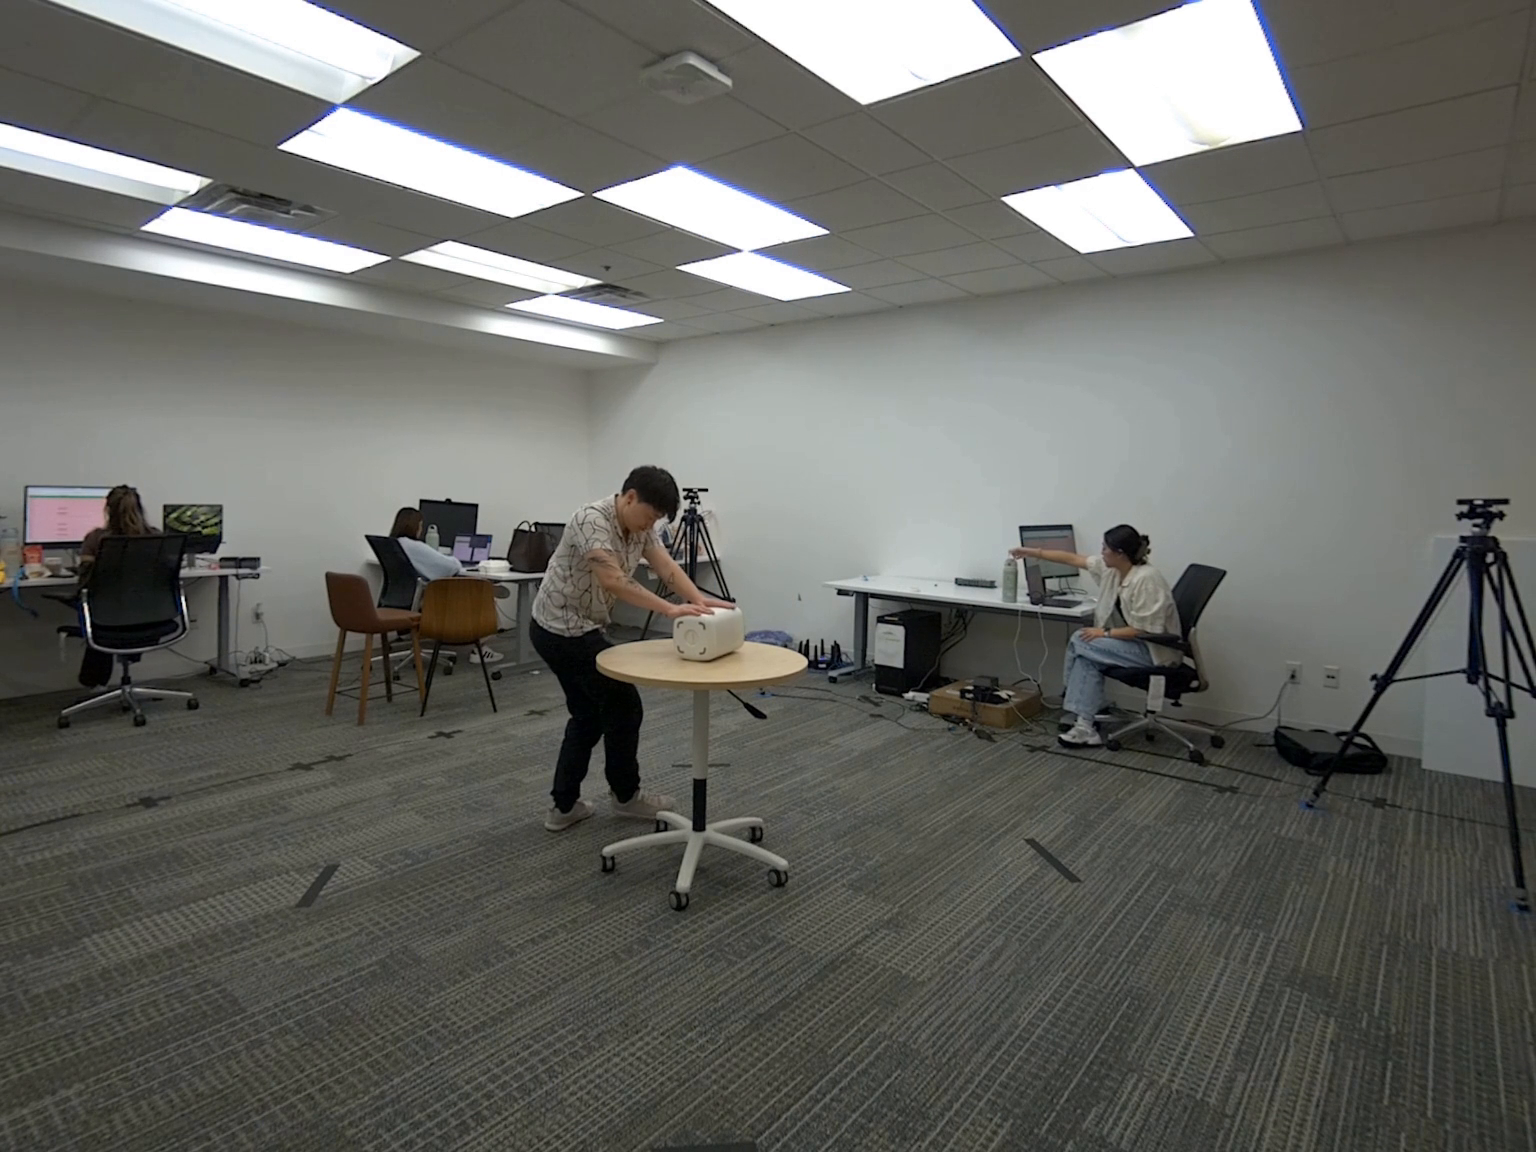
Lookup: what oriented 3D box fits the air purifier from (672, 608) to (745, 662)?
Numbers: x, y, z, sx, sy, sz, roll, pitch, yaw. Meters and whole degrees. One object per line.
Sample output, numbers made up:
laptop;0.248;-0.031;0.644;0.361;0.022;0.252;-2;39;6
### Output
air purifier;-0.230;0.203;3.123;0.175;0.171;0.259;1;5;25
